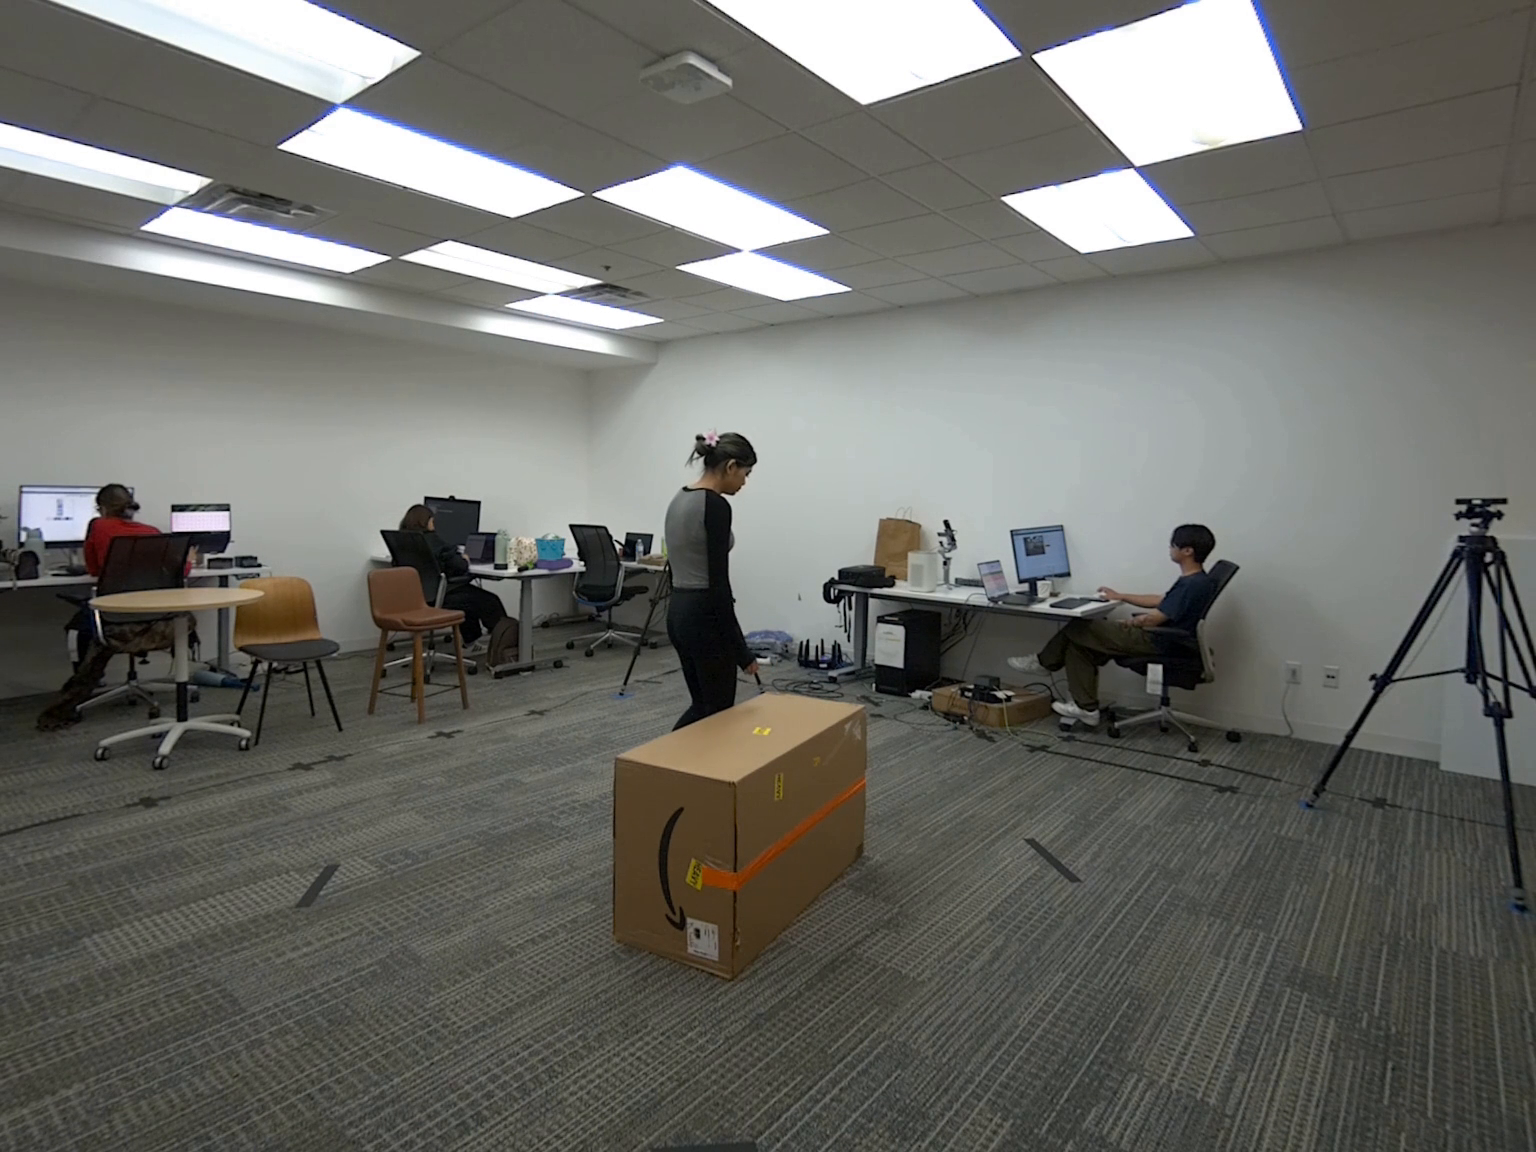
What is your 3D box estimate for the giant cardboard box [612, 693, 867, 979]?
[{"bbox_3d":[-0.054,0.805,2.918,0.438,0.576,1.000,2,5,29],"label":"giant cardboard box"}]
